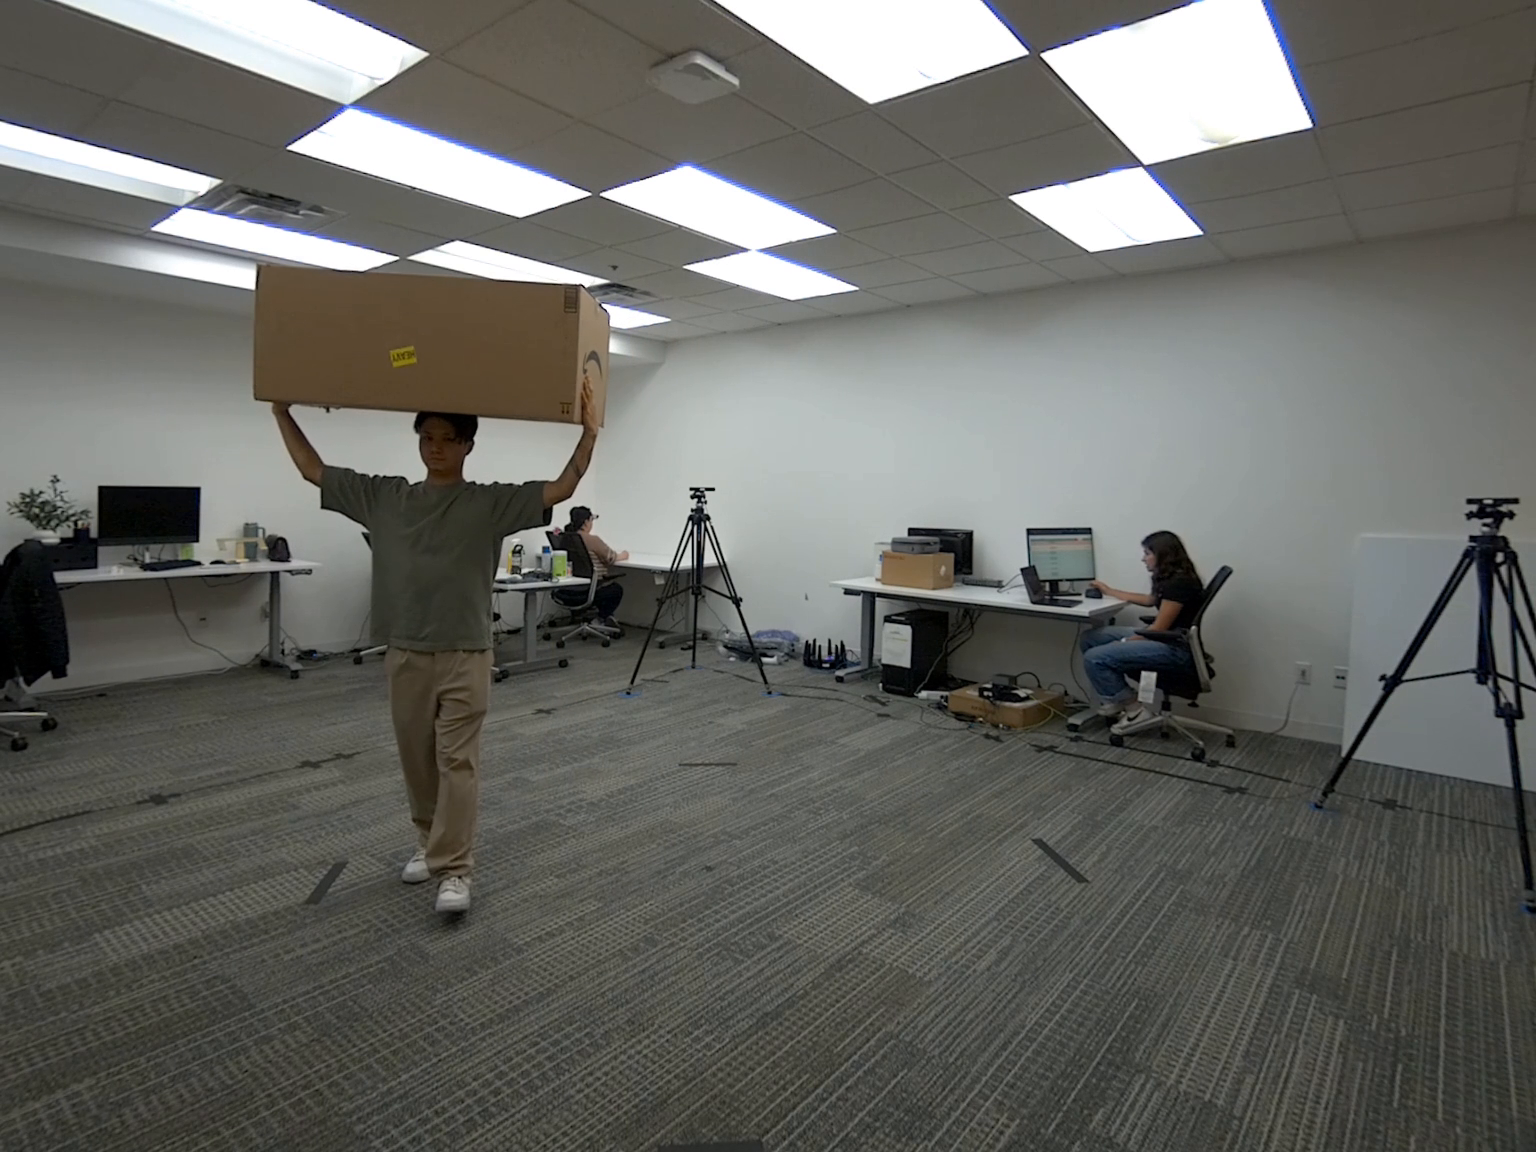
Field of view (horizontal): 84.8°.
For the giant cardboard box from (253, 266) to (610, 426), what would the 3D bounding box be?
[{"bbox_3d":[-1.112,-0.769,2.920,1.028,0.424,0.580,5,7,1],"label":"giant cardboard box"}]
